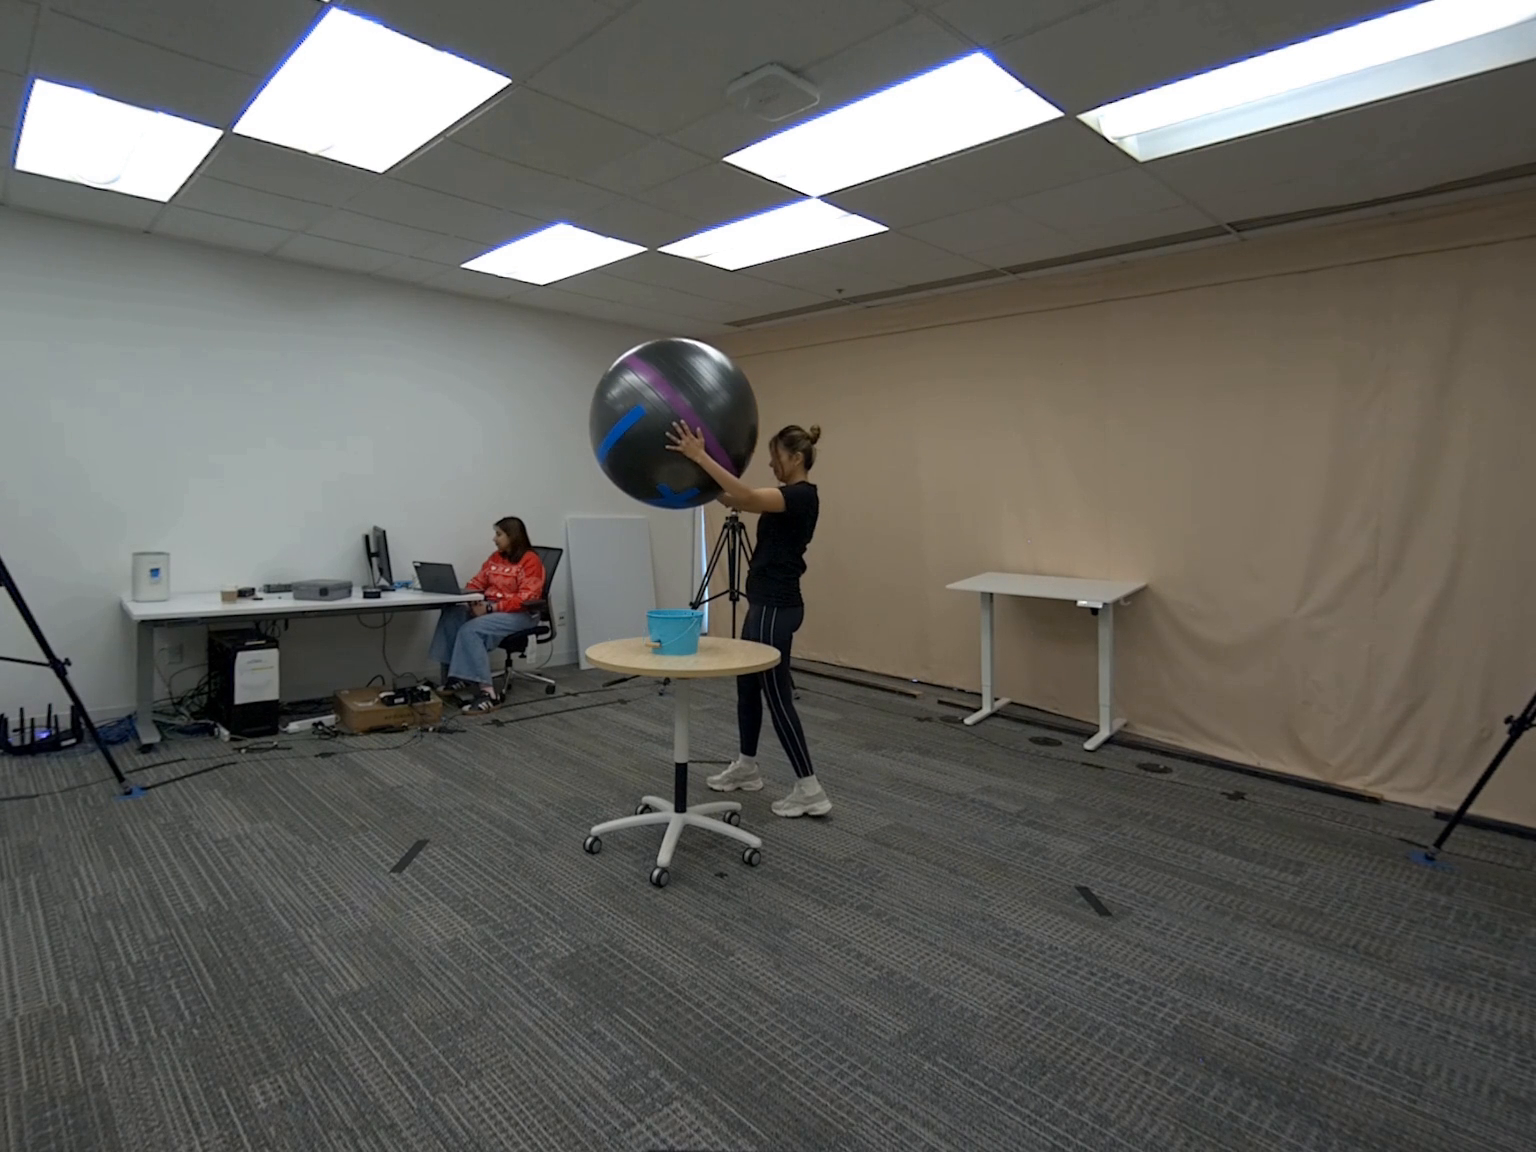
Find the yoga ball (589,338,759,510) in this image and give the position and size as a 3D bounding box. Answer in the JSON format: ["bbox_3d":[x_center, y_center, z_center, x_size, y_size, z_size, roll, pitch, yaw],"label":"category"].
[{"bbox_3d":[-0.426,-0.675,3.767,0.757,0.756,0.761,1,4,-1],"label":"yoga ball"}]
